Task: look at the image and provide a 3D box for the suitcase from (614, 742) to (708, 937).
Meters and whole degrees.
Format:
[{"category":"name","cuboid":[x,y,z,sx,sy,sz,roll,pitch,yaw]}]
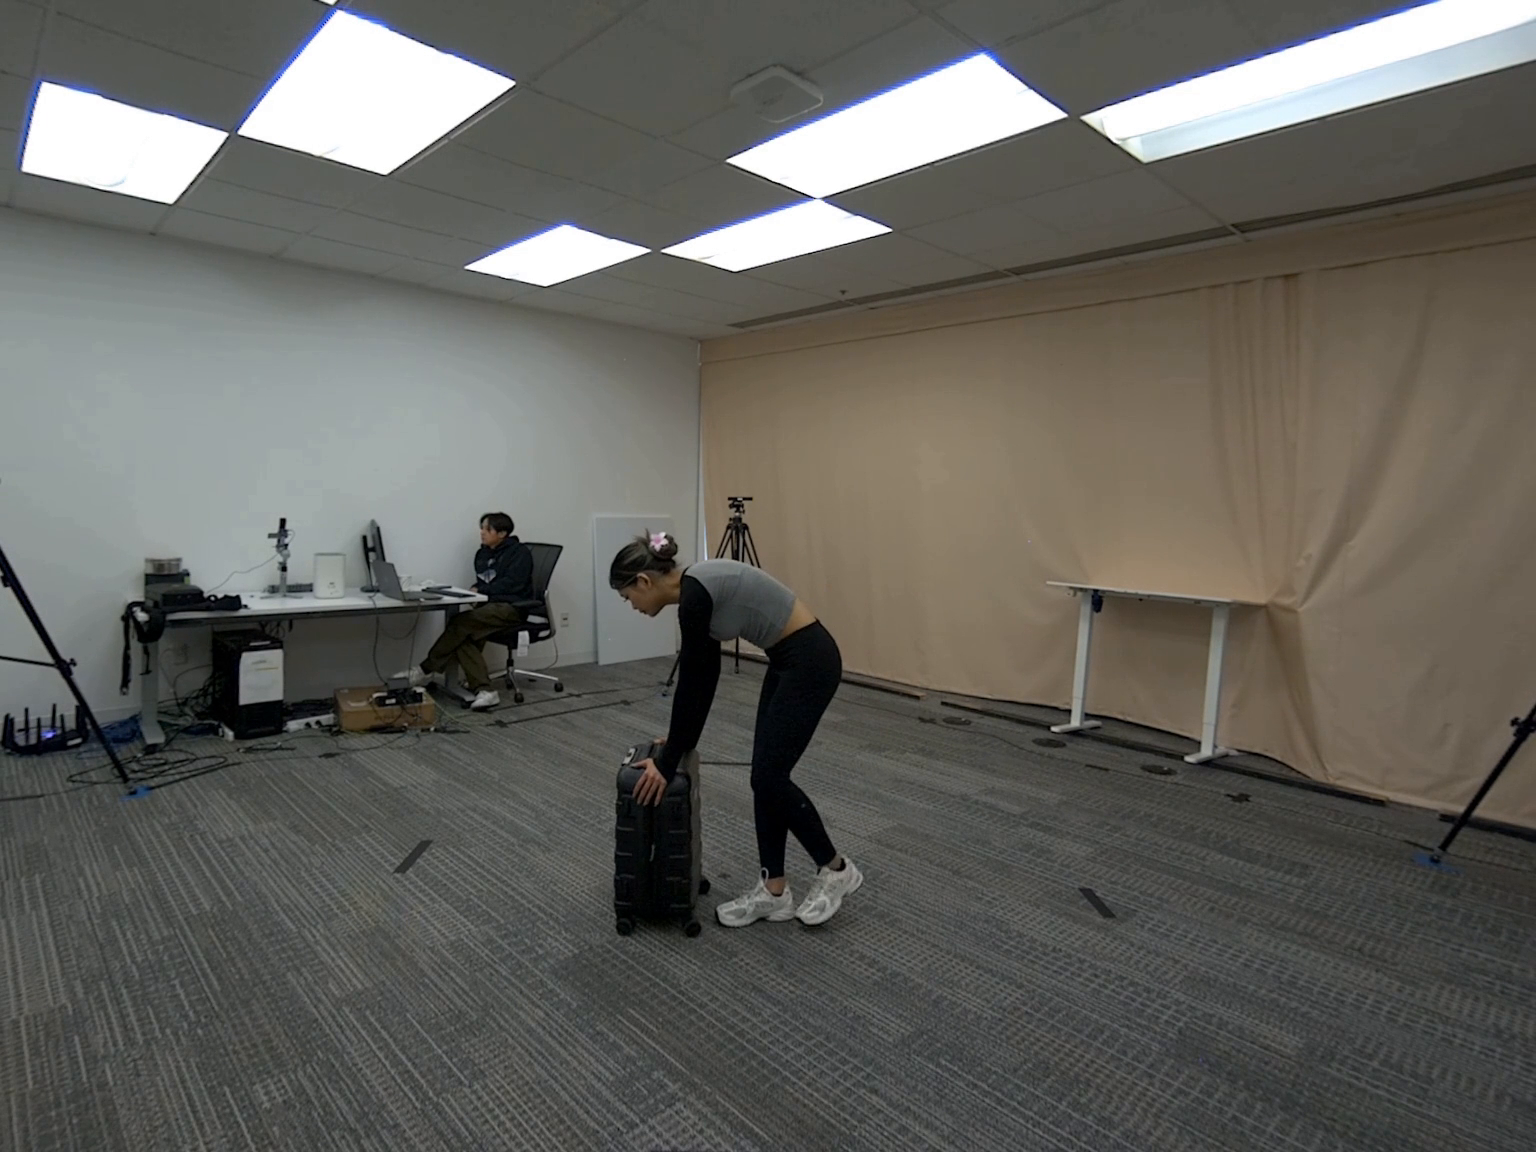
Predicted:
[{"category":"suitcase","cuboid":[-0.370,0.857,2.814,0.249,0.548,0.376,0,4,1]}]
